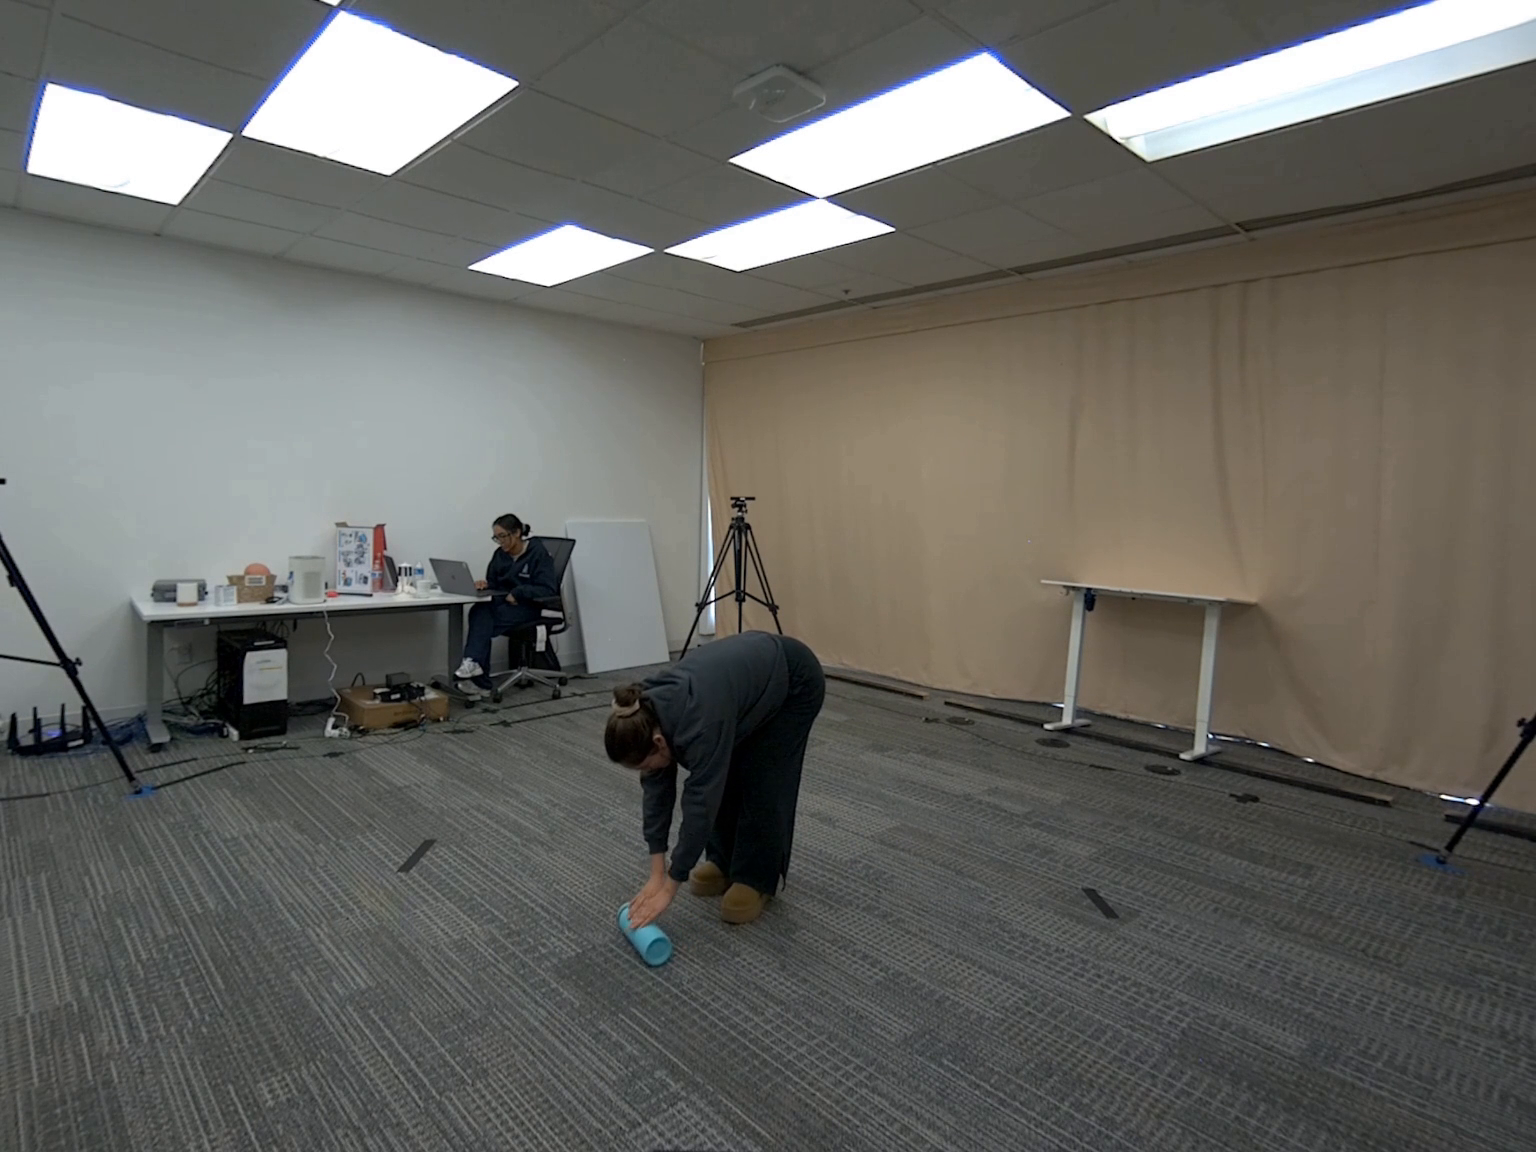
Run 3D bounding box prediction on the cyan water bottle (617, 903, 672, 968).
[{"bbox_3d":[-0.395,1.105,2.619,0.090,0.092,0.289,-1,4,-29],"label":"cyan water bottle"}]
